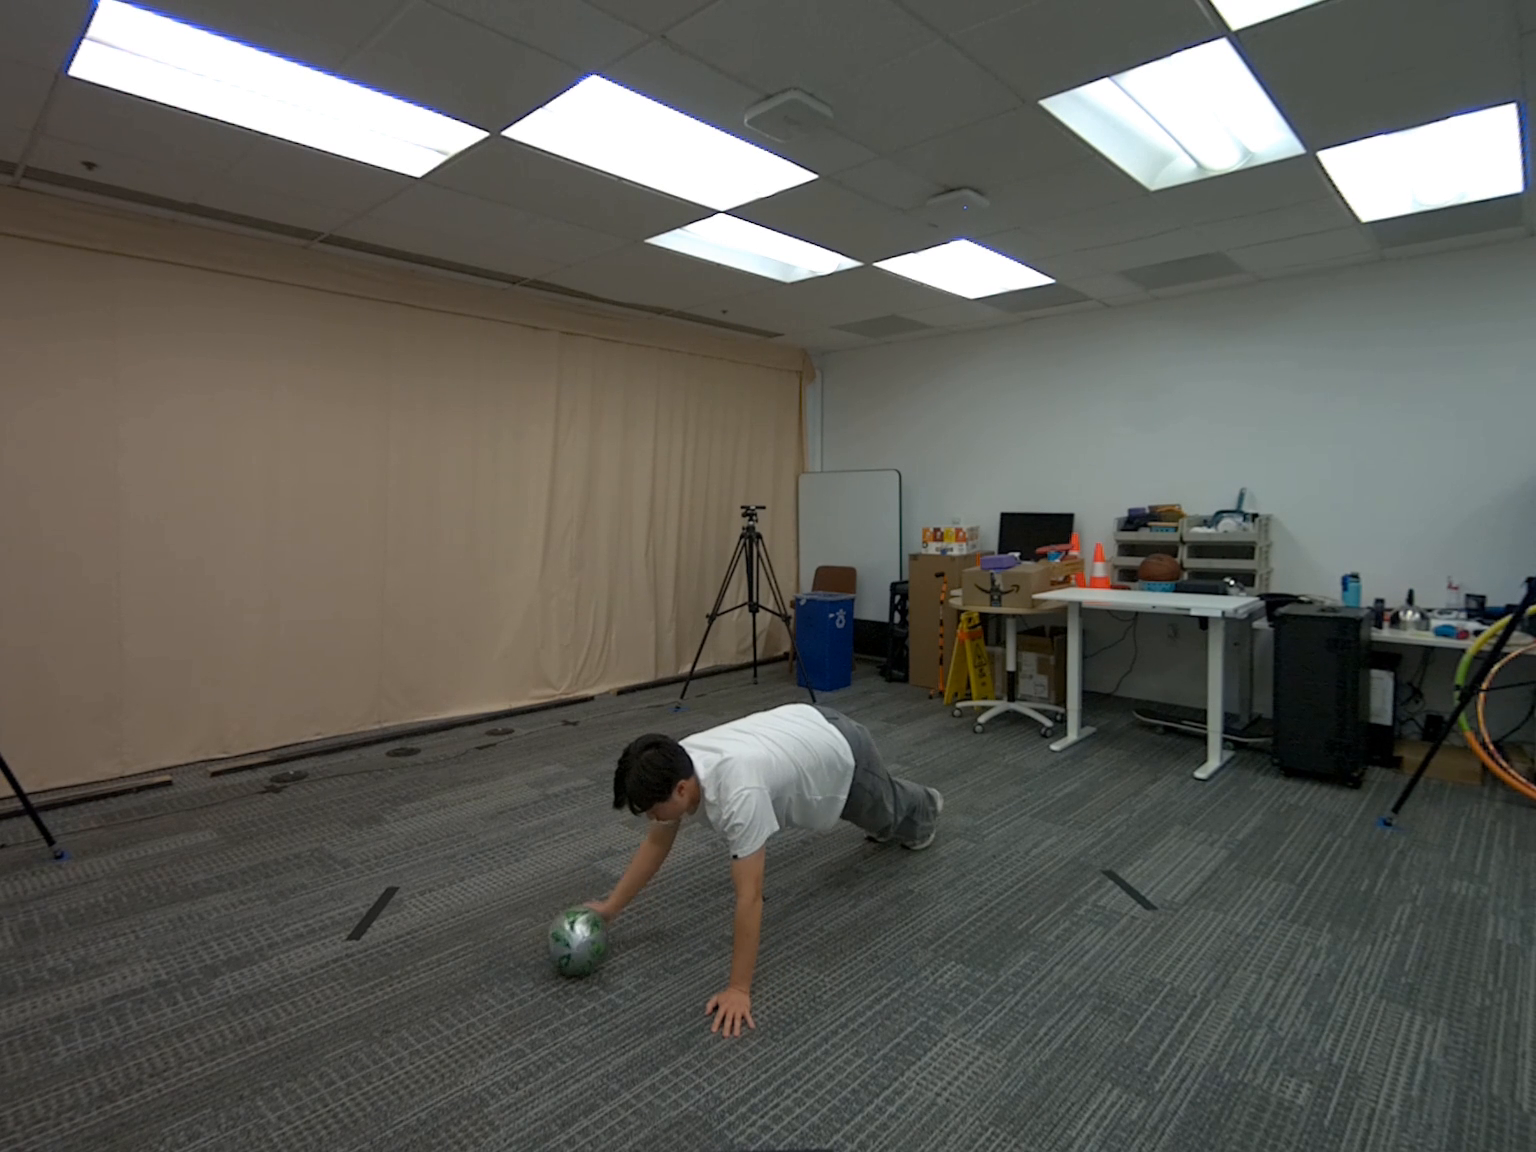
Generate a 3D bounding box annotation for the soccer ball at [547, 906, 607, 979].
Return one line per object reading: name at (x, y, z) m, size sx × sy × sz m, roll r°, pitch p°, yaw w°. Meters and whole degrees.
soccer ball at (-0.567, 1.084, 2.504) m, size 0.187 × 0.187 × 0.188 m, roll 0°, pitch 4°, yaw -2°
